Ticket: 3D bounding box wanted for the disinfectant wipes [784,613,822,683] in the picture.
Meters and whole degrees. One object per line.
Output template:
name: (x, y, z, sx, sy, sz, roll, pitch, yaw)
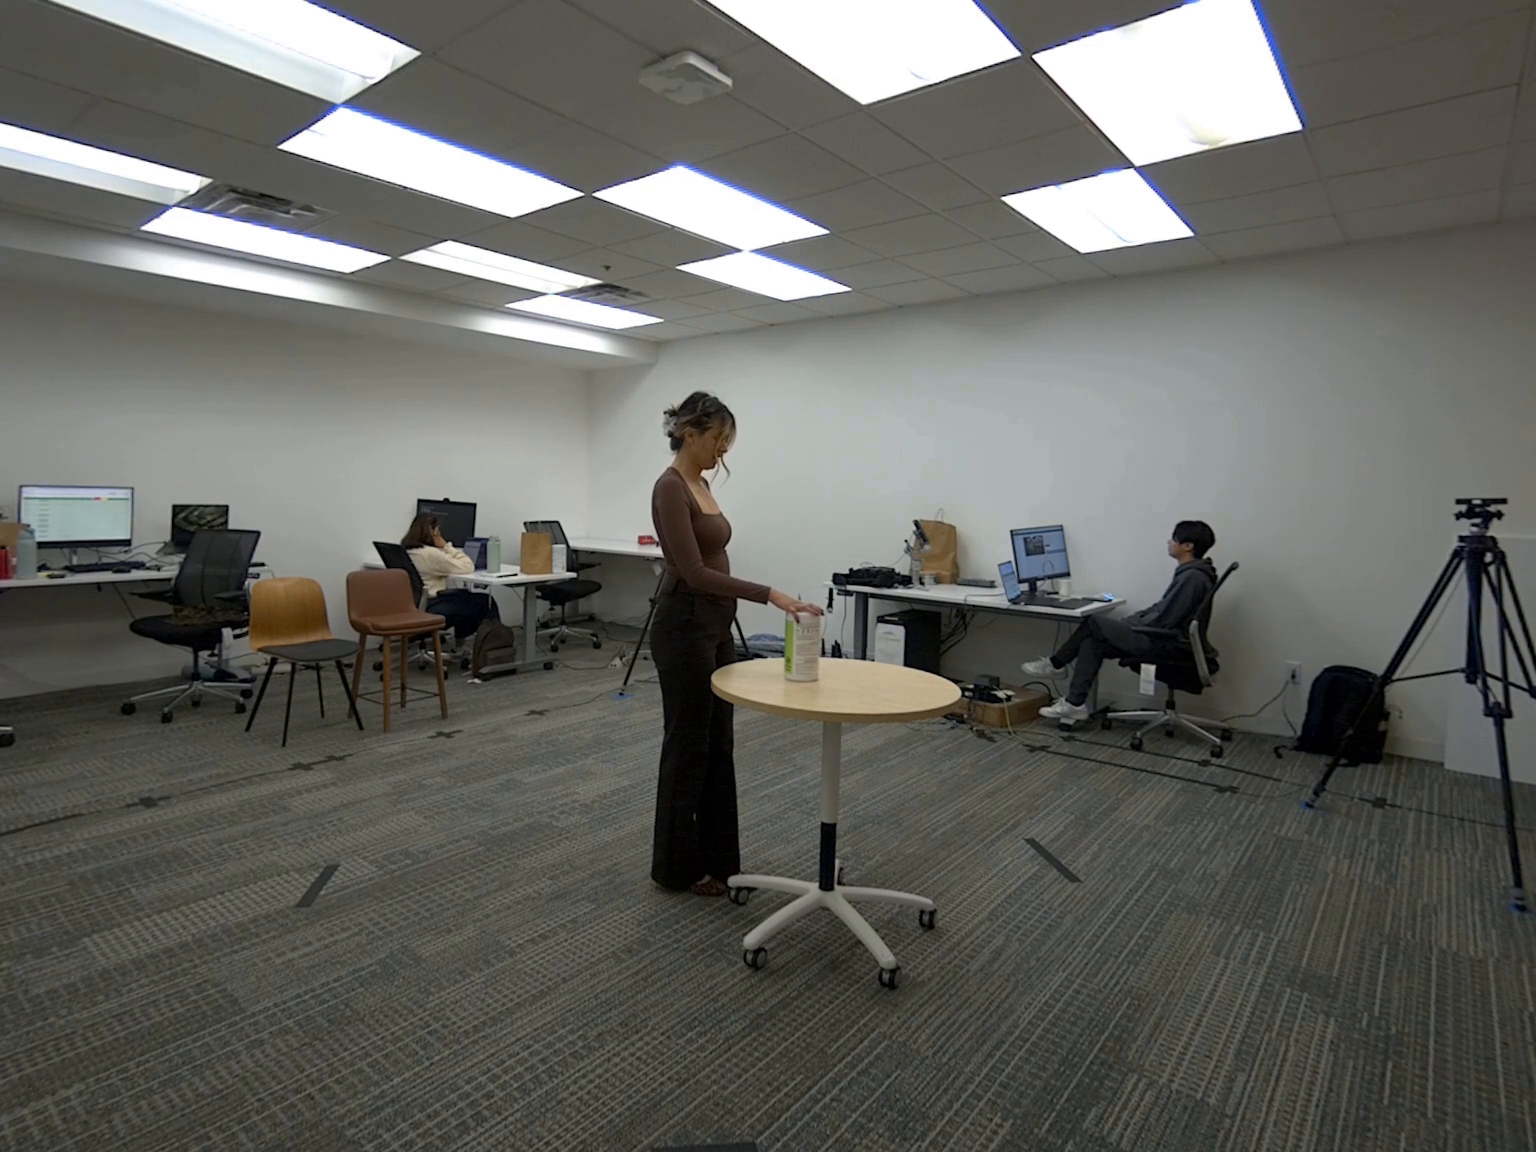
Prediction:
disinfectant wipes: (0.101, 0.213, 2.674, 0.118, 0.217, 0.118, -2, 2, -2)
